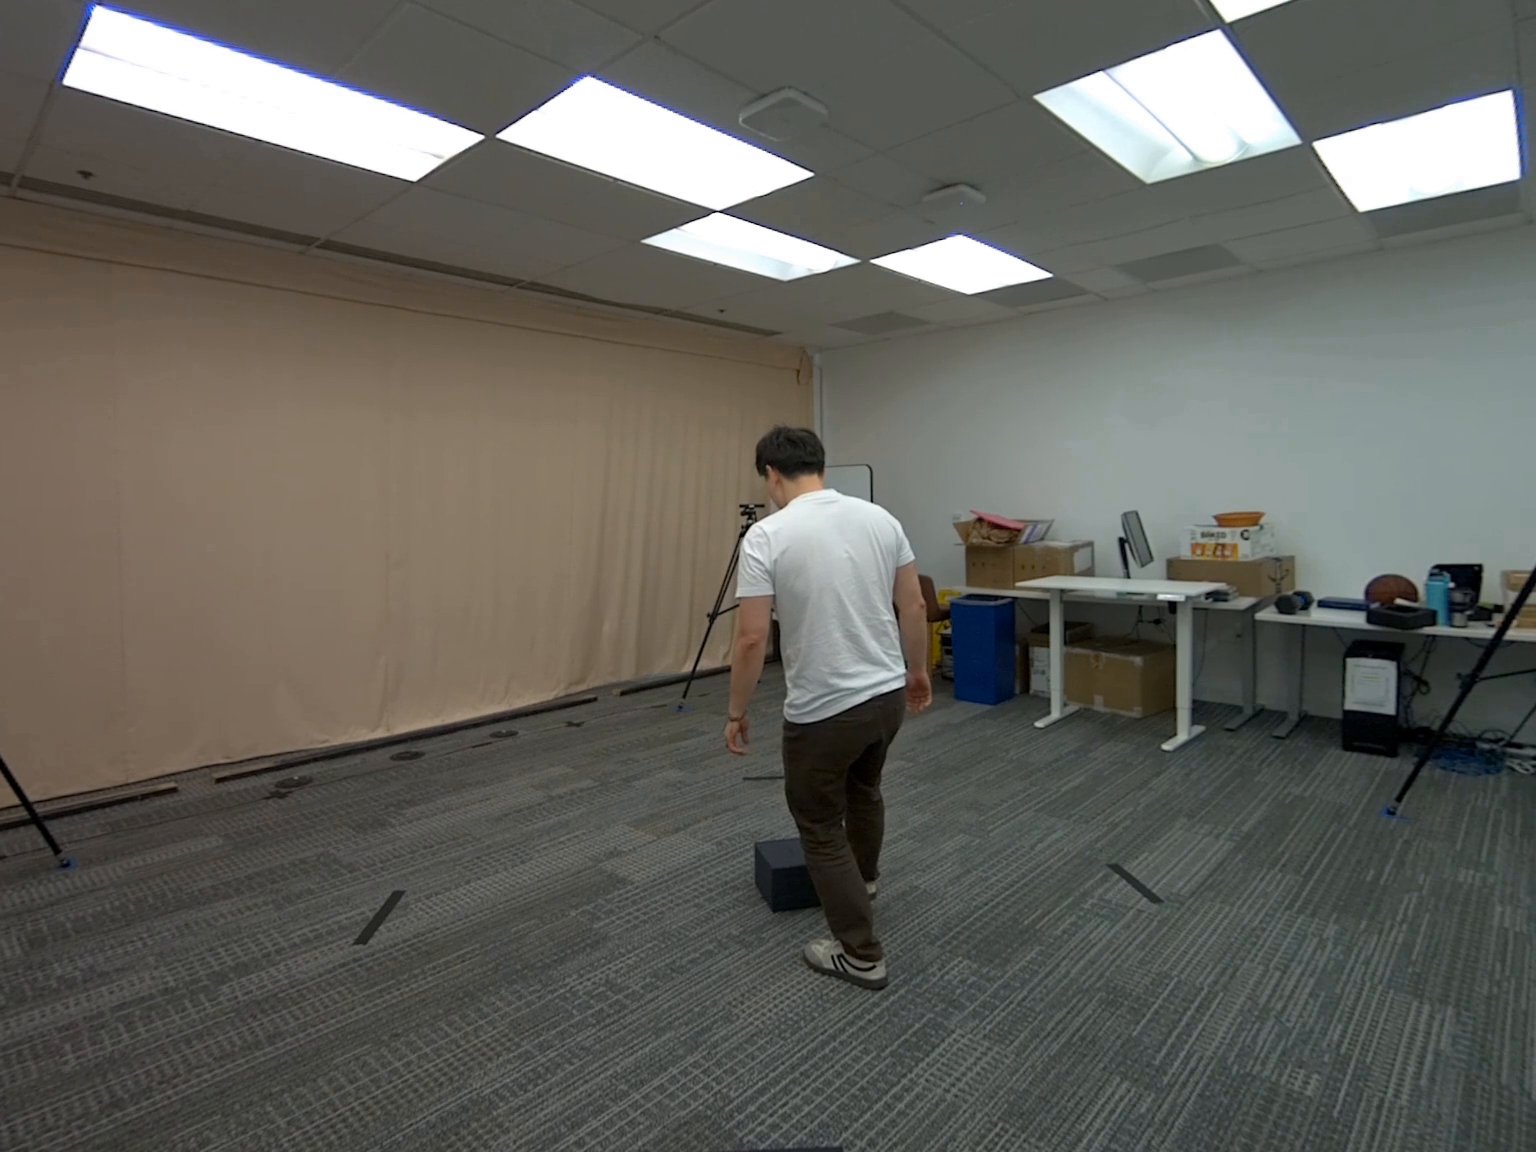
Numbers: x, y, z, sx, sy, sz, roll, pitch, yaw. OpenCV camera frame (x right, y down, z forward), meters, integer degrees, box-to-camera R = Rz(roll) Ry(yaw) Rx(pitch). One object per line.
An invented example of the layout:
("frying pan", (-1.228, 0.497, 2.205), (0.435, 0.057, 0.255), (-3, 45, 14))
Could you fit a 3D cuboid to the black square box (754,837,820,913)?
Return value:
("black square box", (0.090, 1.051, 2.993), (0.214, 0.155, 0.232), (-2, 5, -15))
